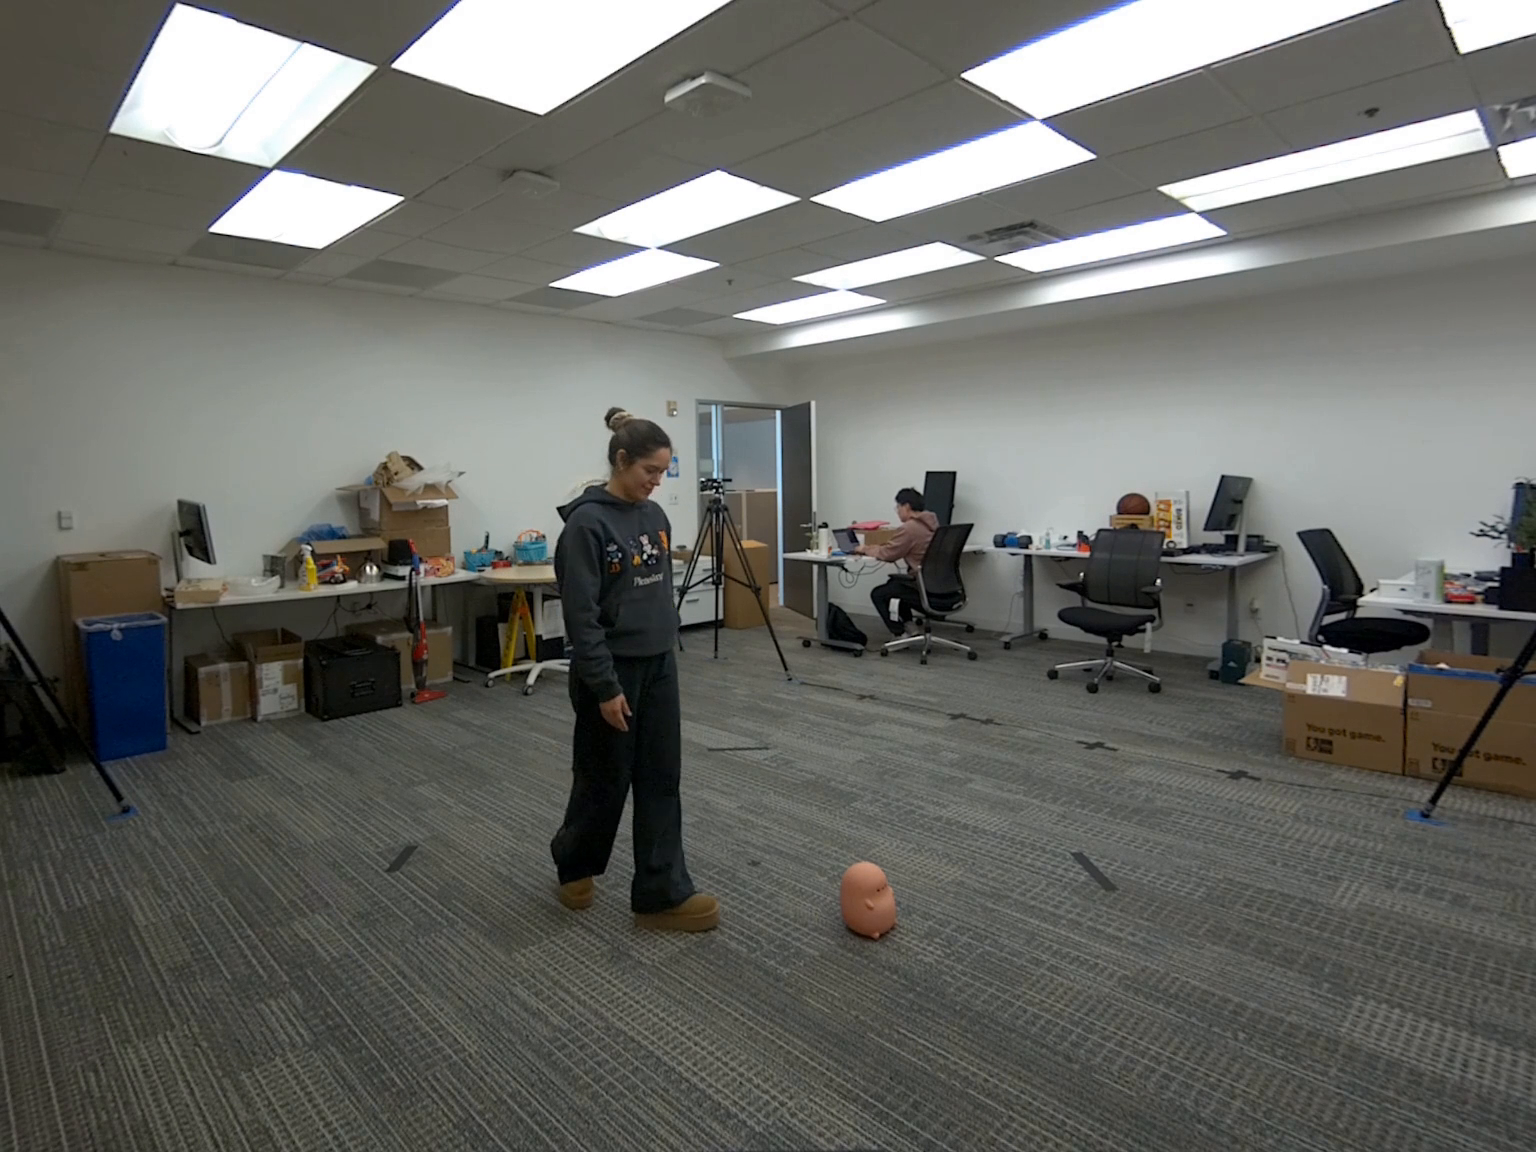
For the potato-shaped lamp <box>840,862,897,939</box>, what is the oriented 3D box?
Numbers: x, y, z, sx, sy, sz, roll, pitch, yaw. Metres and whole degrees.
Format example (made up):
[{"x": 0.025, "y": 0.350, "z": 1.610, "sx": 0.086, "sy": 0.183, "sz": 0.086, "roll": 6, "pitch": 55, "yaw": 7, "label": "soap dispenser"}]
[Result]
[{"x": 0.306, "y": 0.988, "z": 2.631, "sx": 0.160, "sy": 0.198, "sz": 0.176, "roll": -5, "pitch": 3, "yaw": -43, "label": "potato-shaped lamp"}]
